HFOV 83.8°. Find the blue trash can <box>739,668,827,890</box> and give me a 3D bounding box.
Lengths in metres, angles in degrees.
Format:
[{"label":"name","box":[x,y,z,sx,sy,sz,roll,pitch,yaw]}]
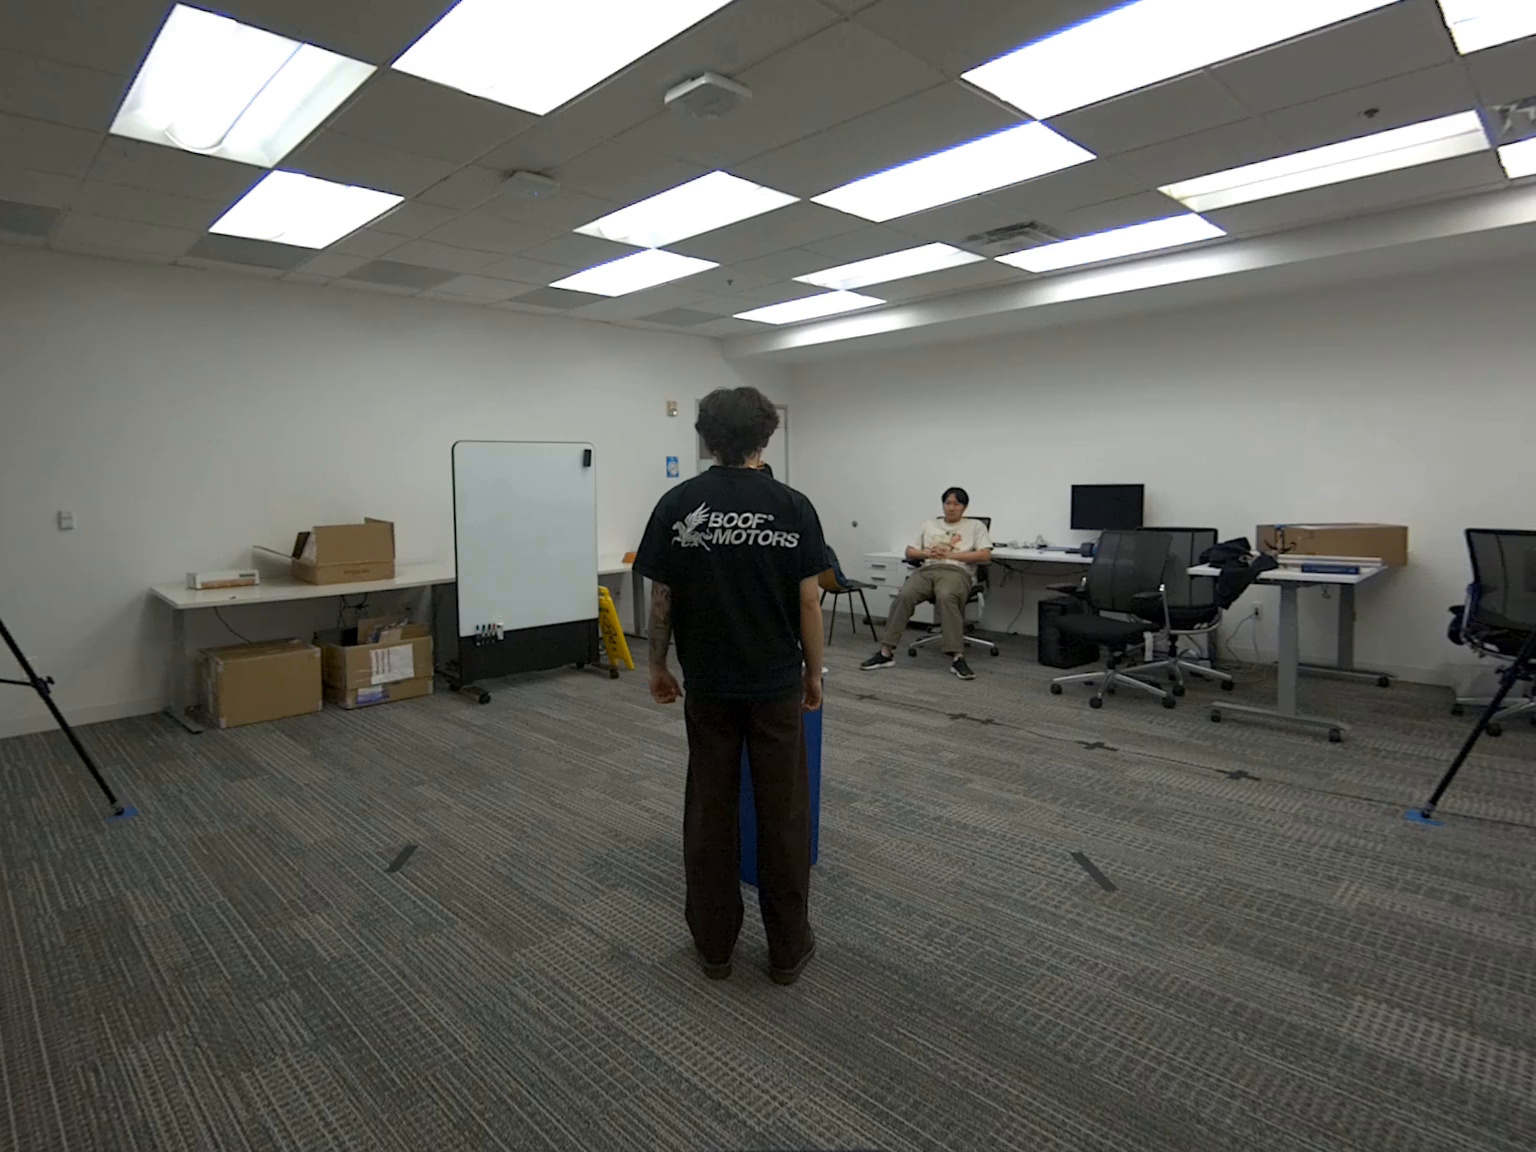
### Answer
[{"label":"blue trash can","box":[-0.018,0.688,3.085,0.385,0.711,0.368,3,6,45]}]
